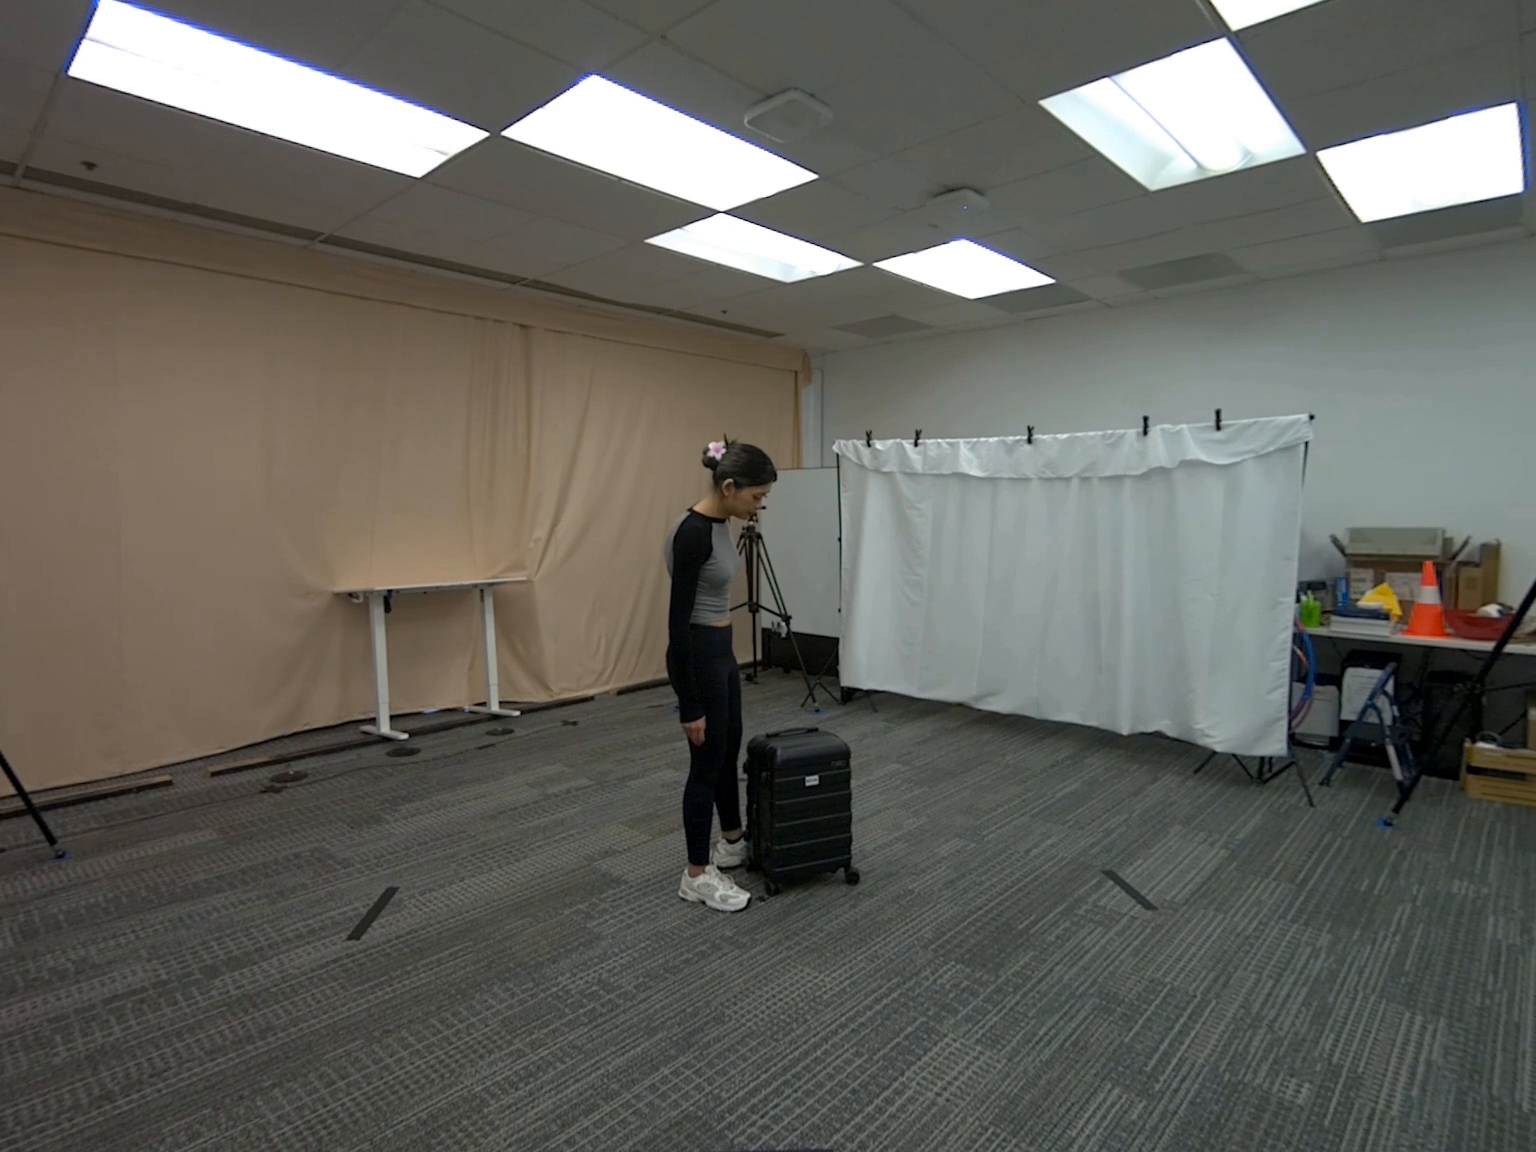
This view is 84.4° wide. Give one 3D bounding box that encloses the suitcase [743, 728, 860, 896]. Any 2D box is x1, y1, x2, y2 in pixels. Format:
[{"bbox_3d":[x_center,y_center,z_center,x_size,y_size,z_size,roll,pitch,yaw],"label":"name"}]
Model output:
[{"bbox_3d":[0.122,0.850,3.136,0.367,0.548,0.254,-2,4,-23],"label":"suitcase"}]
